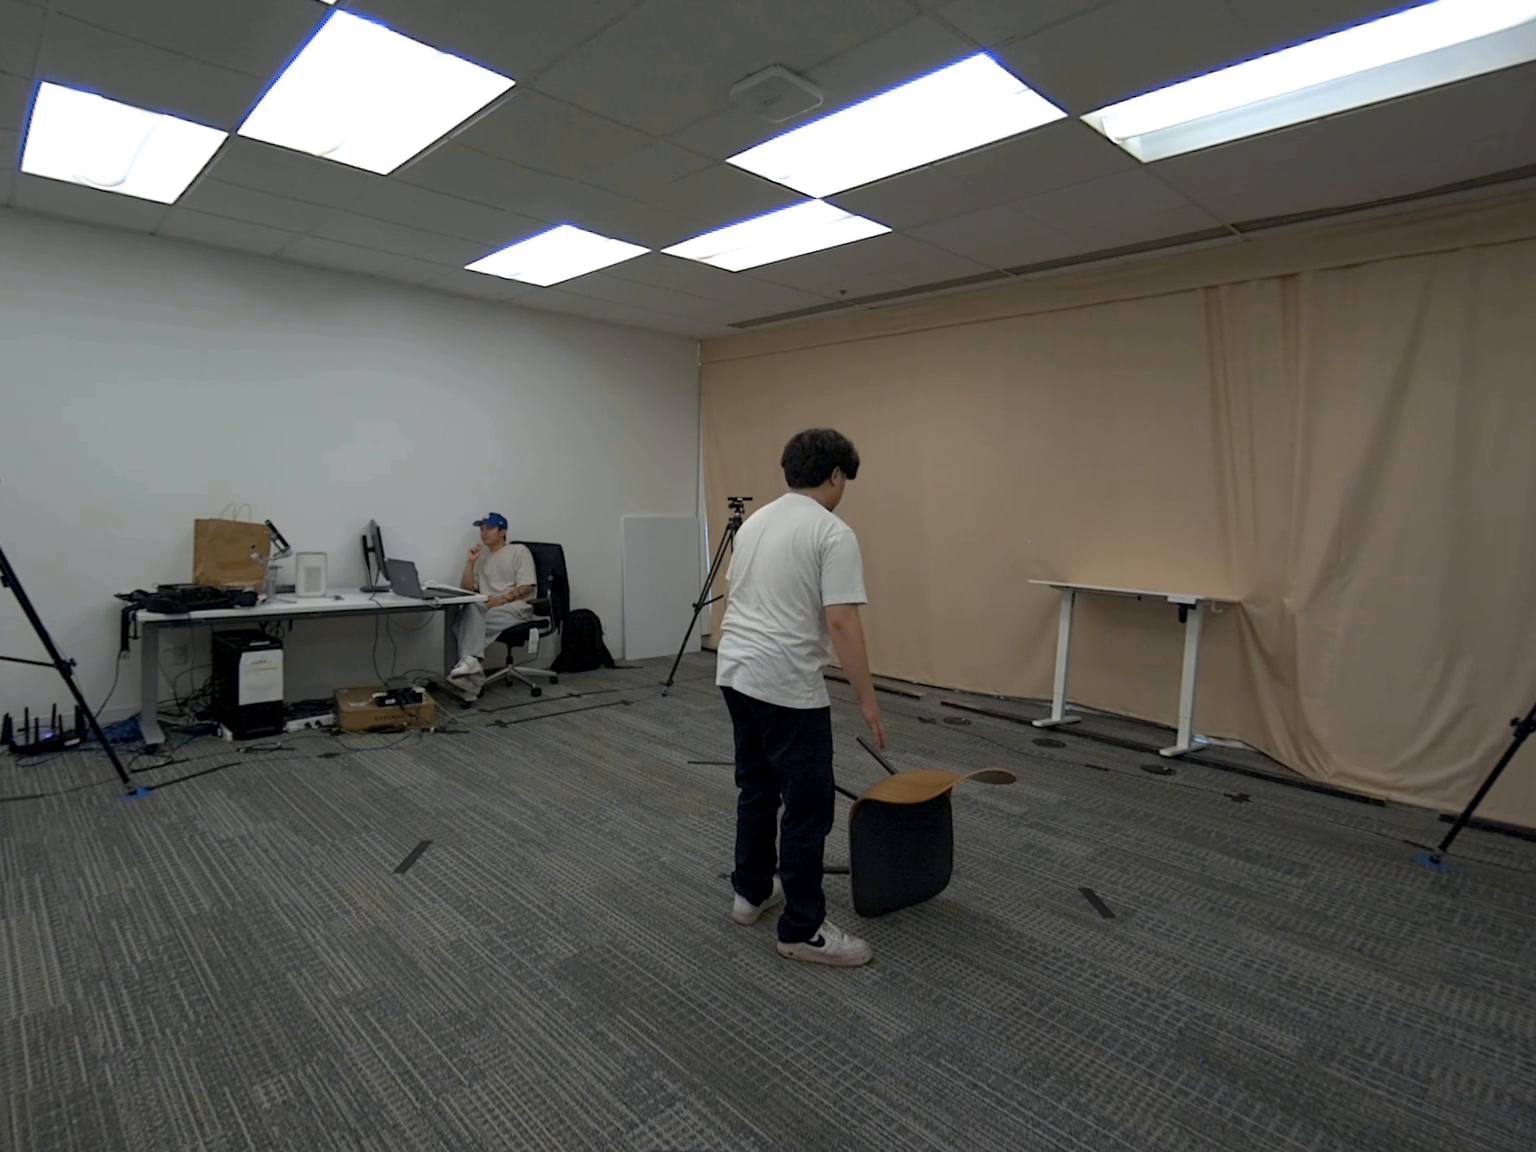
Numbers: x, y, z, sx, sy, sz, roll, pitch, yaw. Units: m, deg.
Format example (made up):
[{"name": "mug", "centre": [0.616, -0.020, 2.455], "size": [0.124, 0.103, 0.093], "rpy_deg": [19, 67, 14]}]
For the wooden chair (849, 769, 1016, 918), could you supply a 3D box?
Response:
[{"name": "wooden chair", "centre": [0.429, 0.885, 2.910], "size": [0.467, 0.525, 0.894], "rpy_deg": [0, -4, -35]}]
